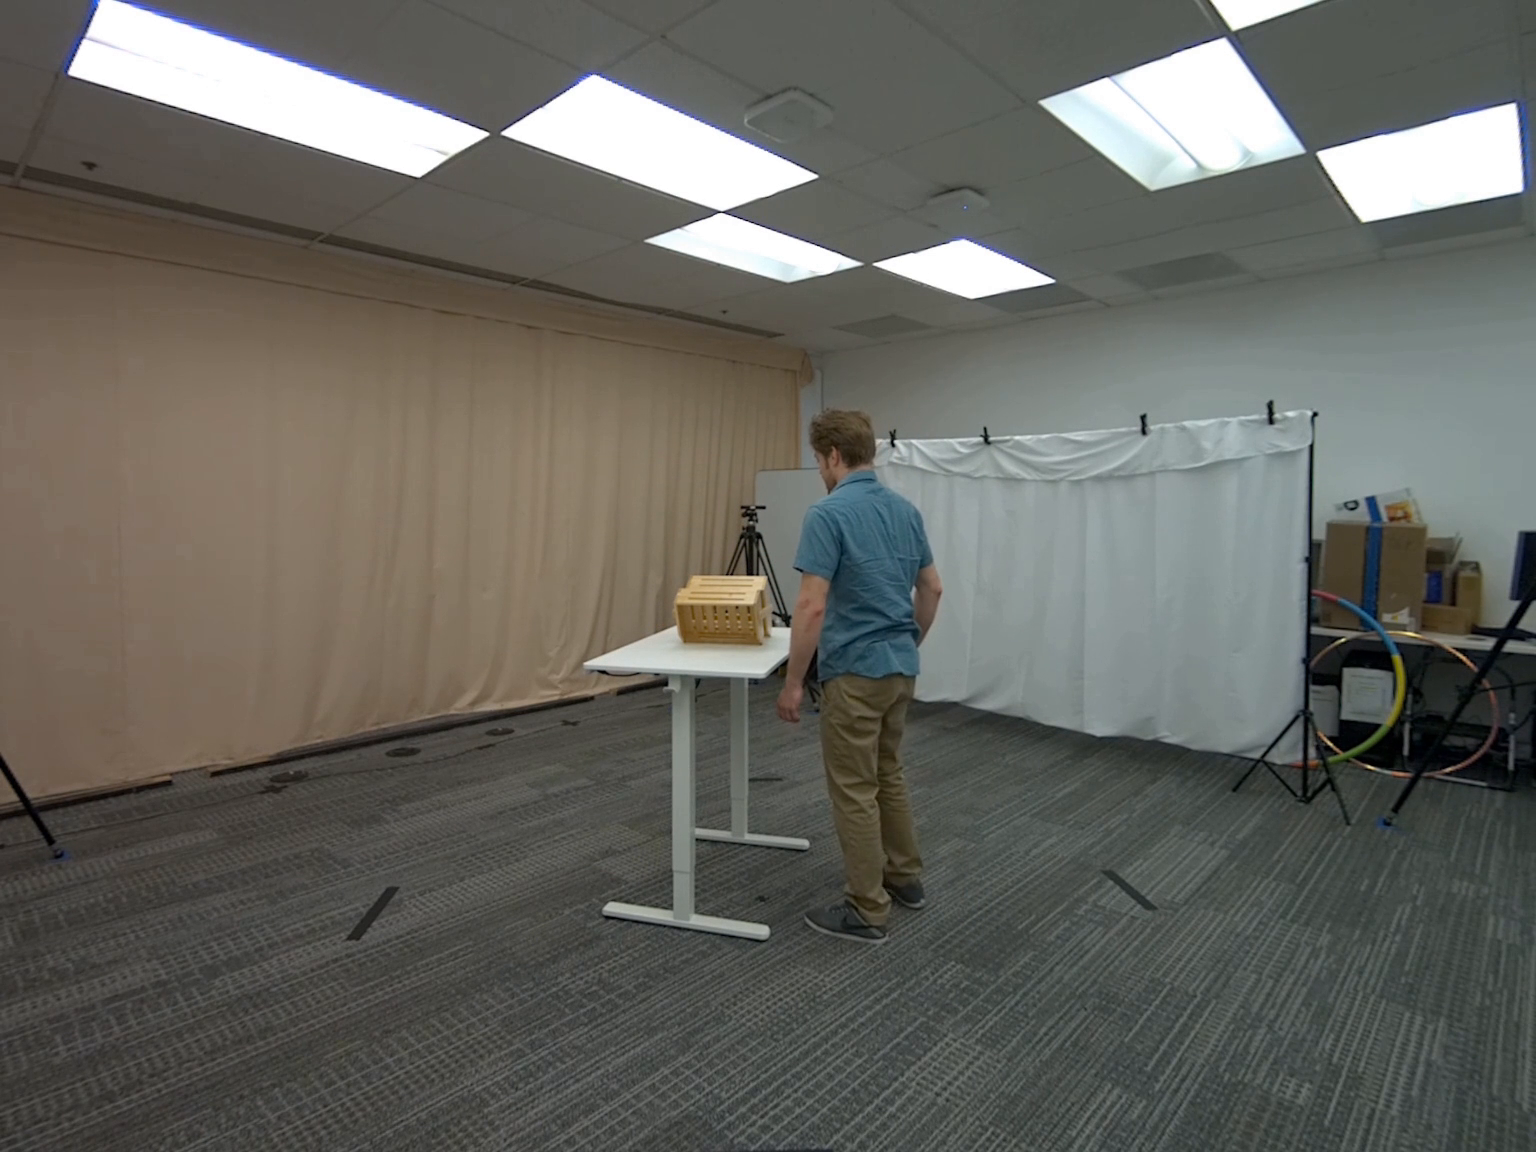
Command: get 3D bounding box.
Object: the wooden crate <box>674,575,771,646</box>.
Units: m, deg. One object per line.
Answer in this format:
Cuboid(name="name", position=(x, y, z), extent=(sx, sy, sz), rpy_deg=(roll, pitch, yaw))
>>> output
Cuboid(name="wooden crate", position=(-0.162, 0.158, 3.158), extent=(0.329, 0.296, 0.275), rpy_deg=(0, 30, 12))
